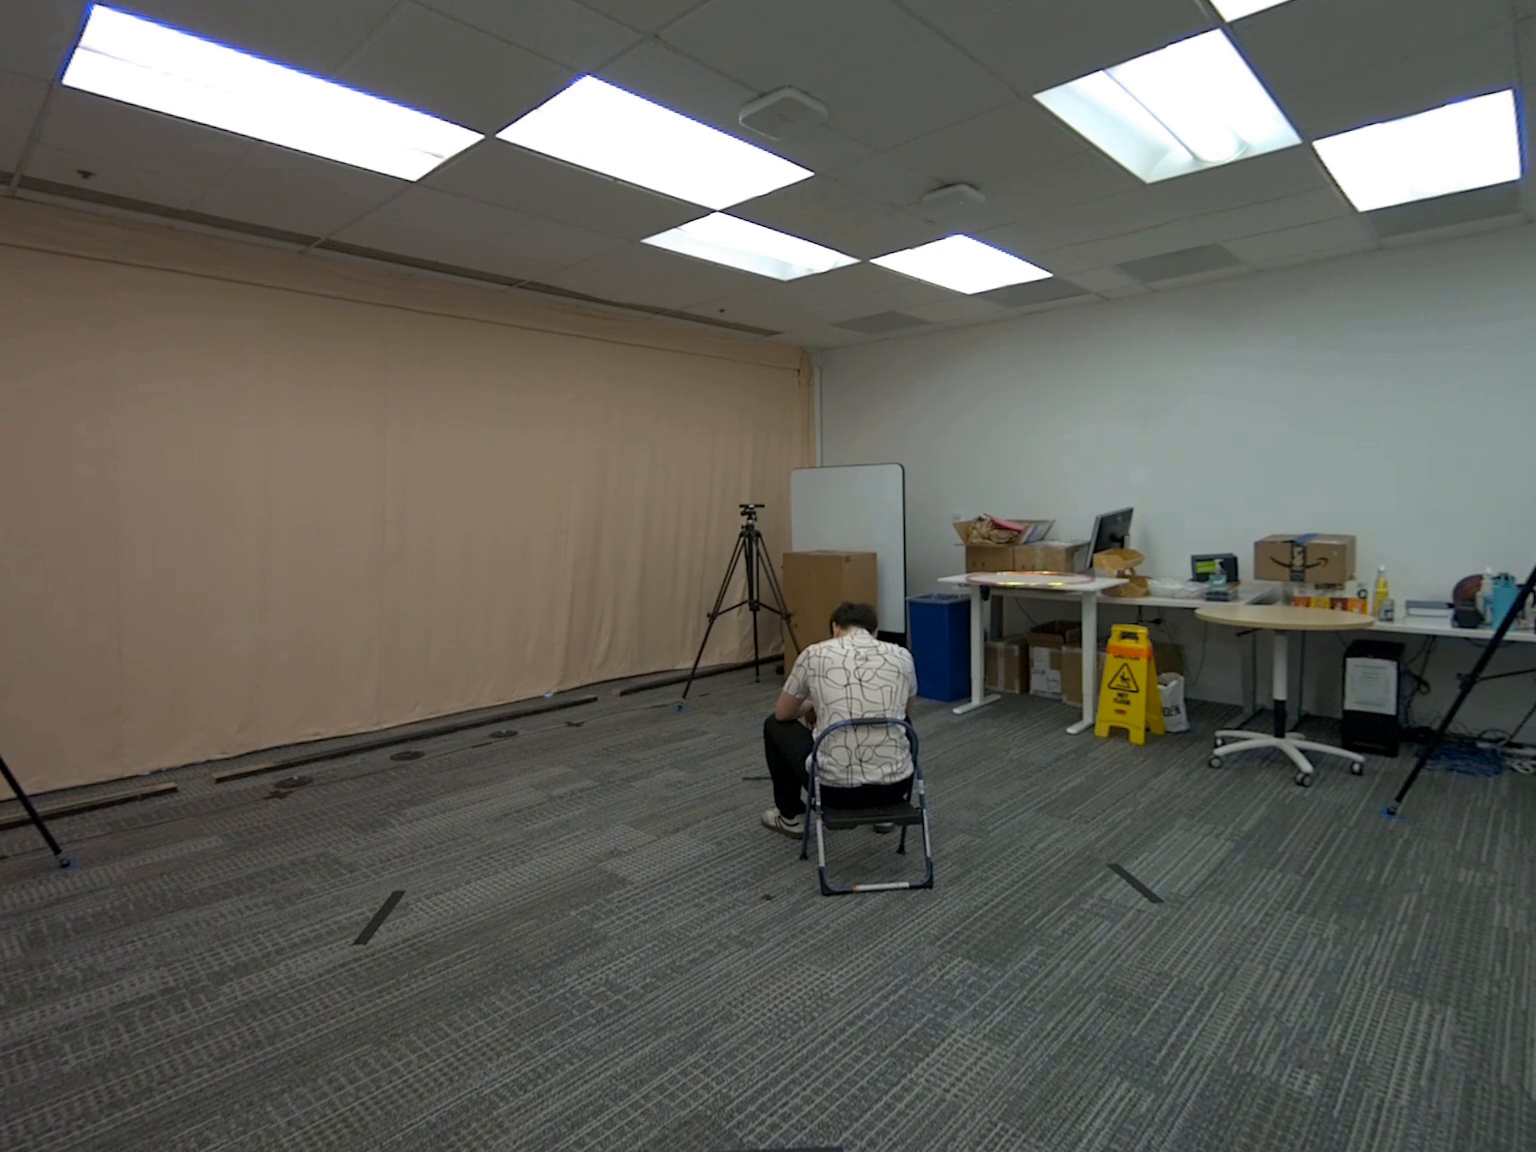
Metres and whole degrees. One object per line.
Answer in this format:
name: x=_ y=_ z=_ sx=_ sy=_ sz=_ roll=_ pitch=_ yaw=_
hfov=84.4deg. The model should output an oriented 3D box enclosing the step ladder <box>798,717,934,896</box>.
step ladder: x=0.362 y=0.817 z=3.156 sx=0.427 sy=0.605 sz=0.353 roll=-1 pitch=3 yaw=-9
